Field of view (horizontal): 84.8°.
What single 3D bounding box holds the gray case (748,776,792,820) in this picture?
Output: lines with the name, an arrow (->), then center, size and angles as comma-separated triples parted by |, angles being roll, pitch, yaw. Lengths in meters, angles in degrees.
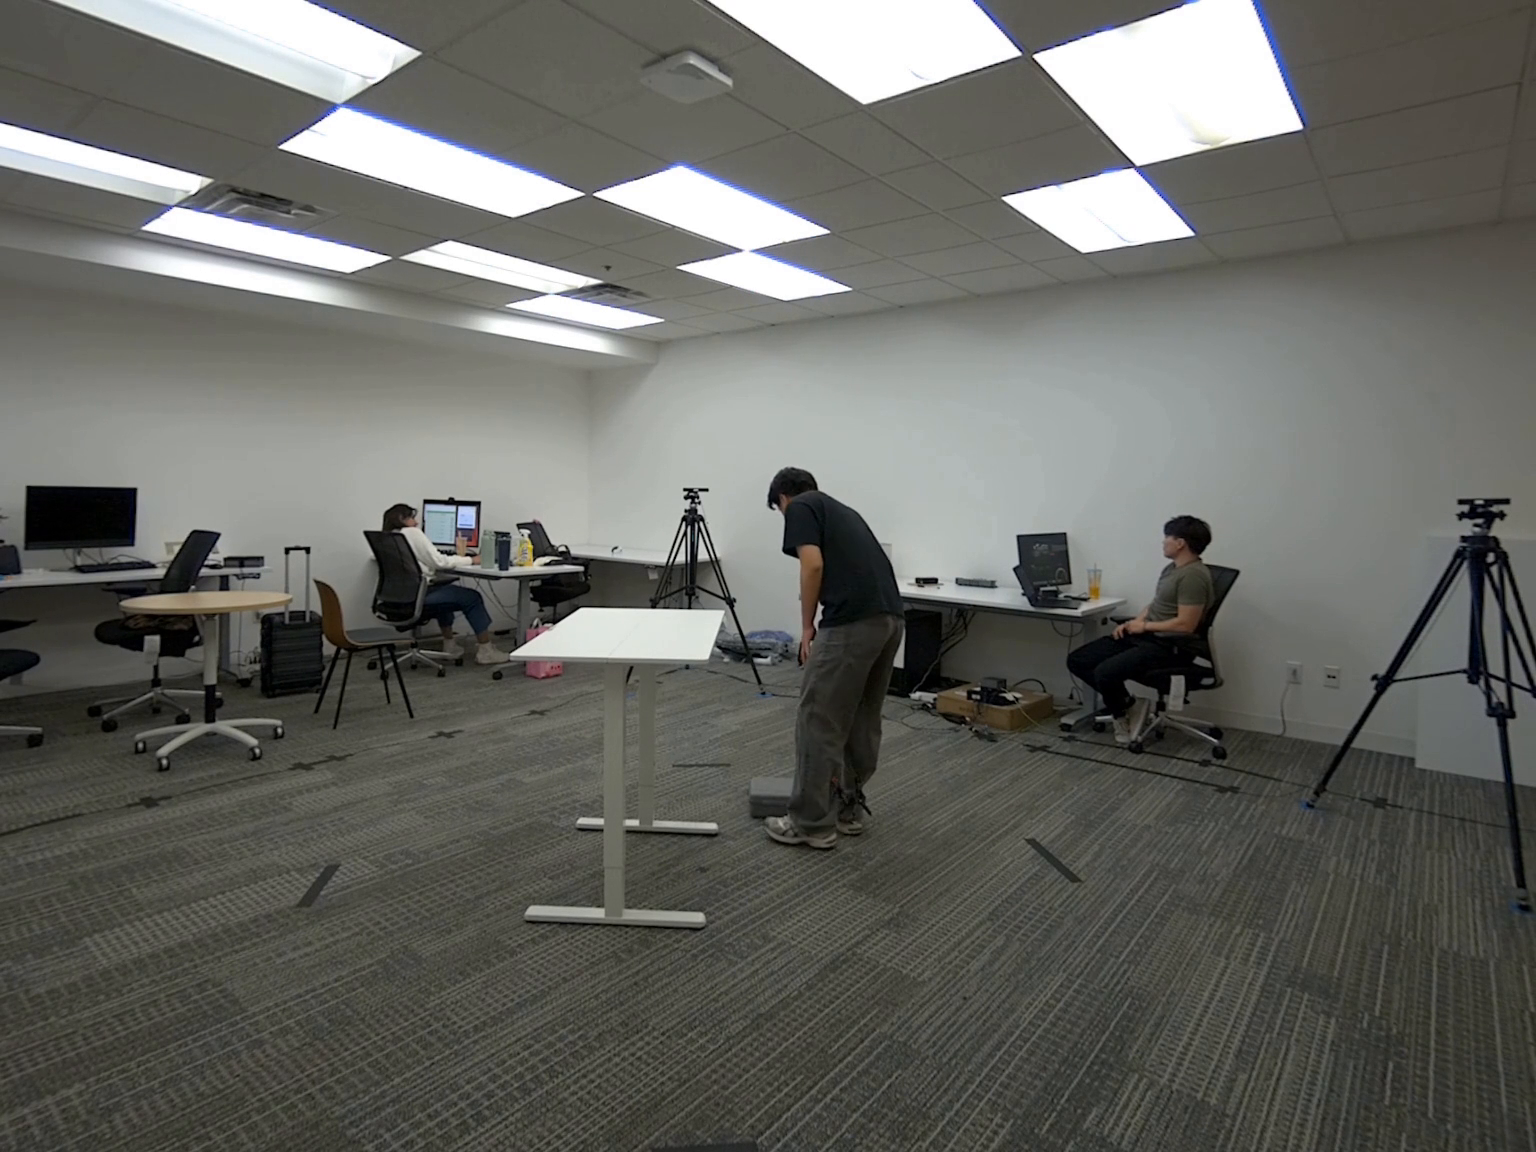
gray case -> 0.035, 0.962, 3.730 | 0.264, 0.102, 0.287 | 0, 5, 3
